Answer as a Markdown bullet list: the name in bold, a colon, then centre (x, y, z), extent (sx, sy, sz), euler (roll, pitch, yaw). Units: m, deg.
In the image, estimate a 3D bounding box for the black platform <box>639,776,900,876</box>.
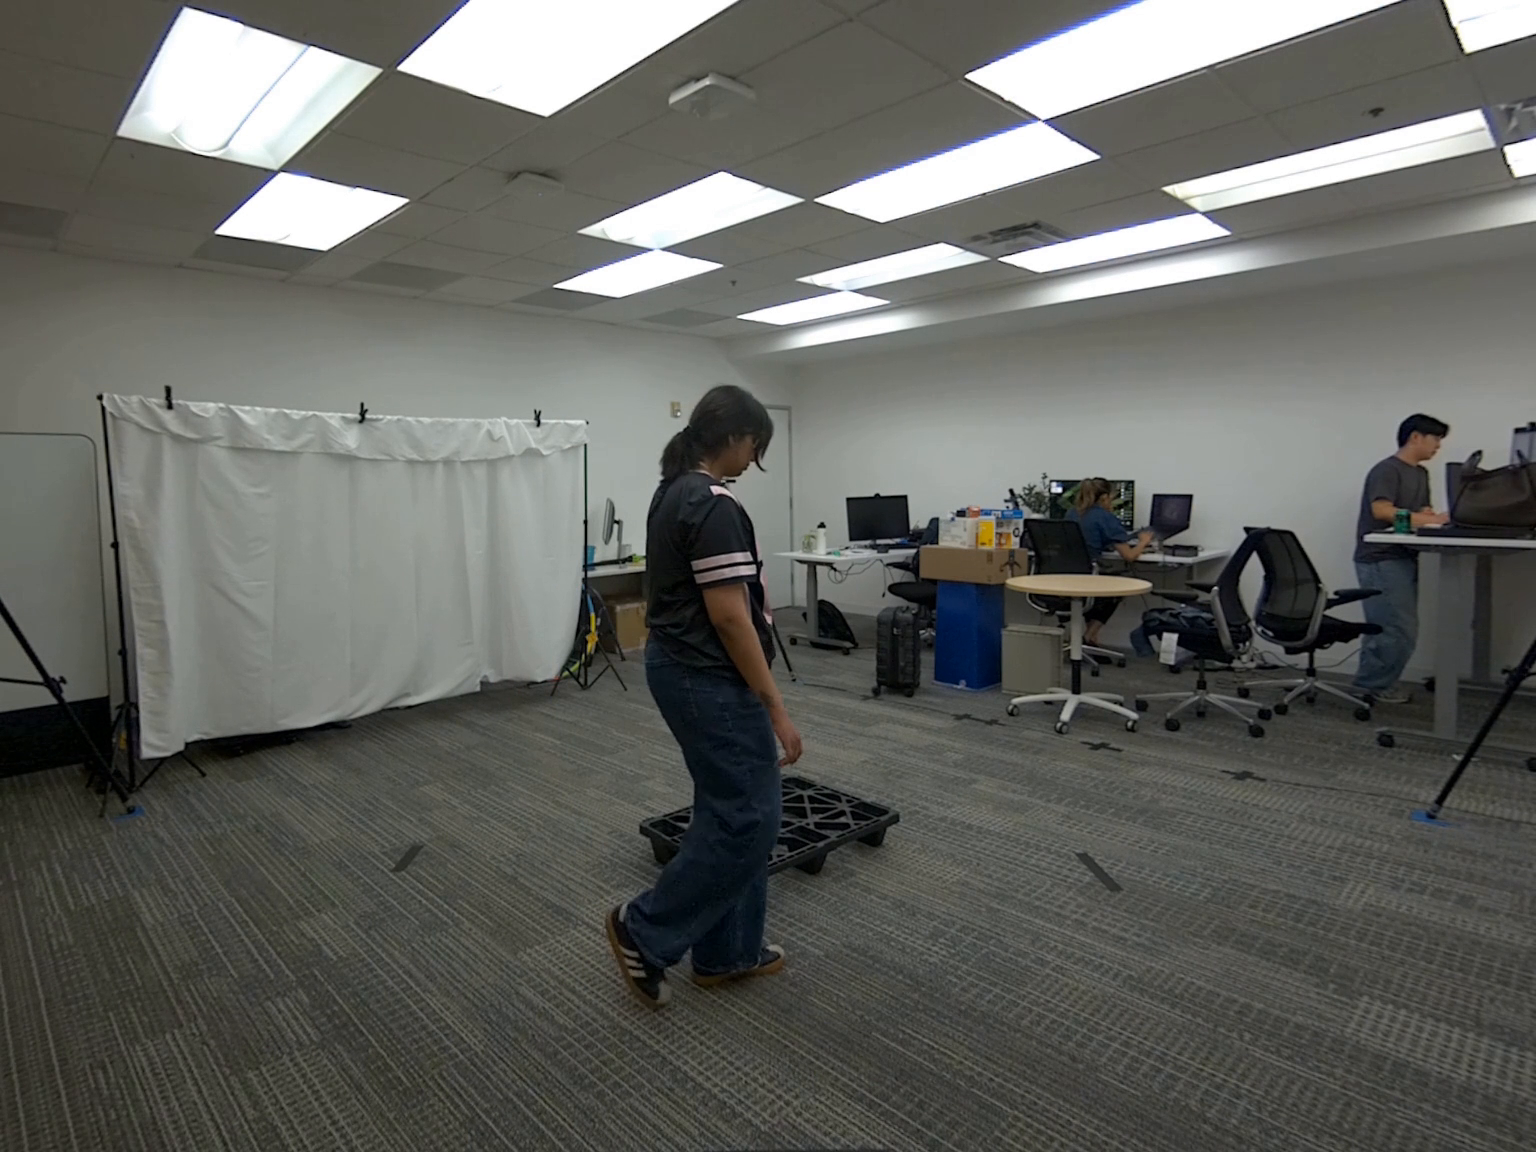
- **black platform**: centre (0.020, 0.971, 3.197), extent (0.785, 0.142, 0.624), euler (-7, 9, -41)
